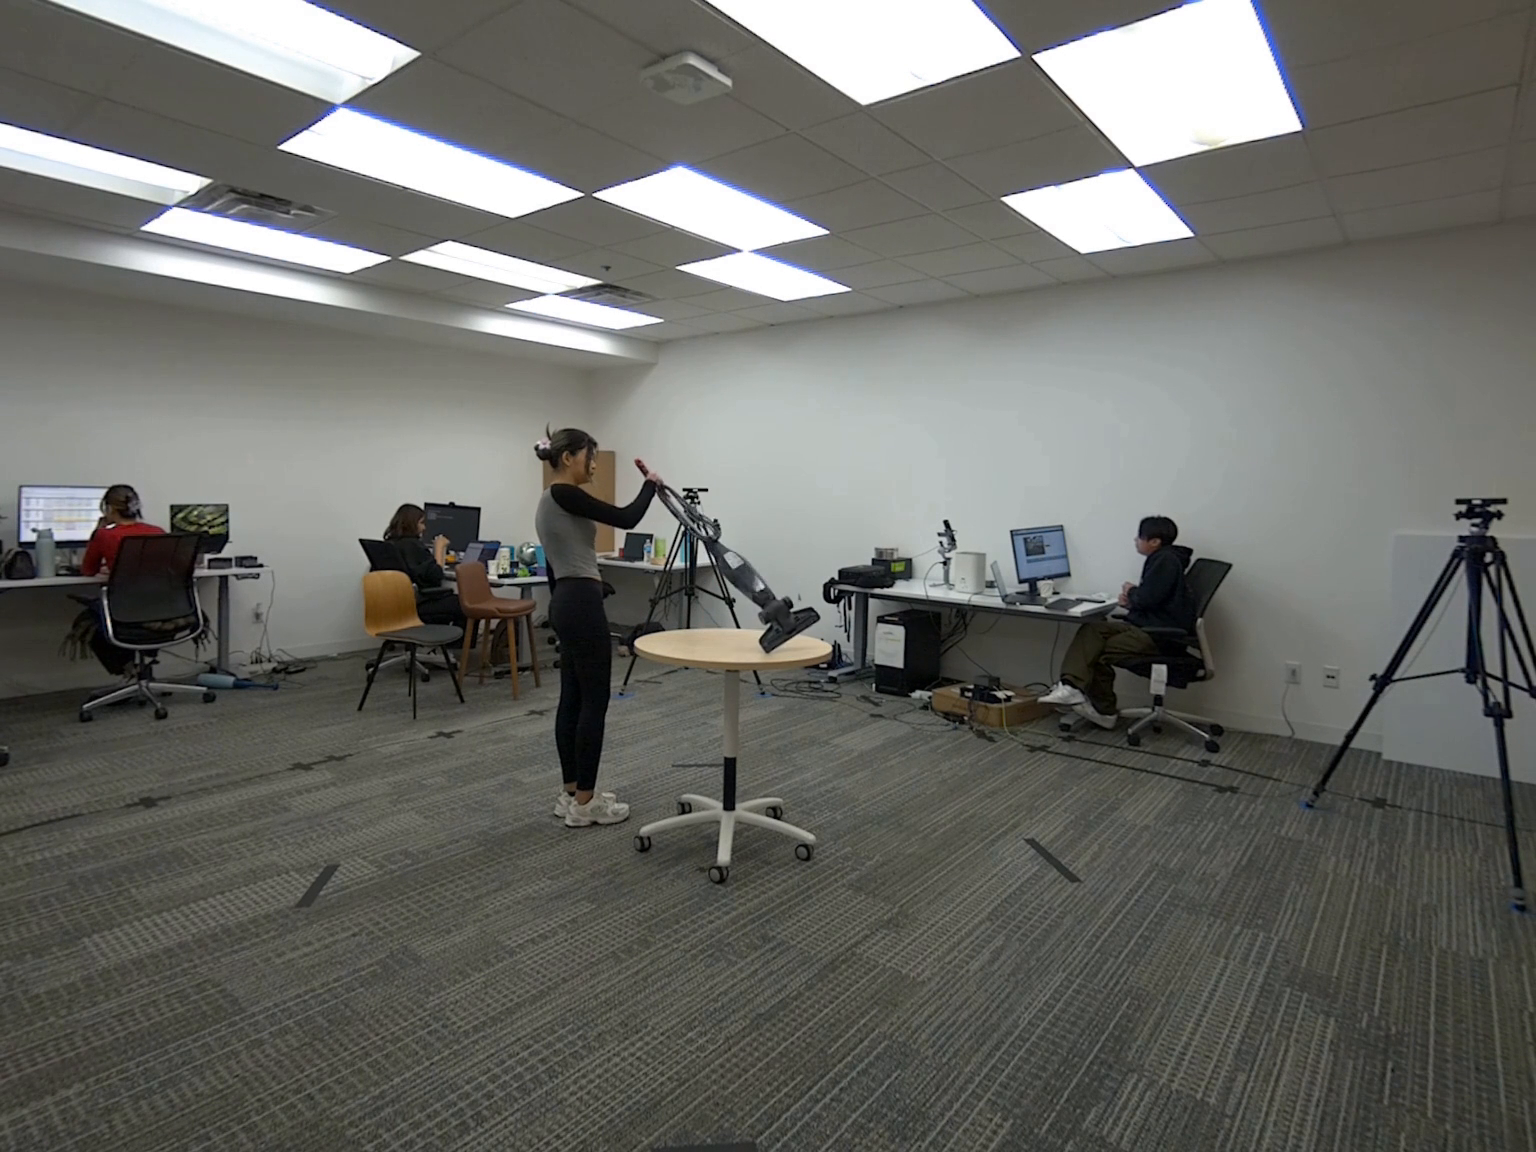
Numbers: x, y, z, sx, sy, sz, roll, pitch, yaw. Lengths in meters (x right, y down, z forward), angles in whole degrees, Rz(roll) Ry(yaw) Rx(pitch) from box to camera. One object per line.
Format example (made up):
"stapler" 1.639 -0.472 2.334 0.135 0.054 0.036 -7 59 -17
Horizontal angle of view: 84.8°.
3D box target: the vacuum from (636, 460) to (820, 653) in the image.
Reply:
"vacuum" -0.262 -0.152 3.448 0.249 0.140 1.089 -26 57 -27
